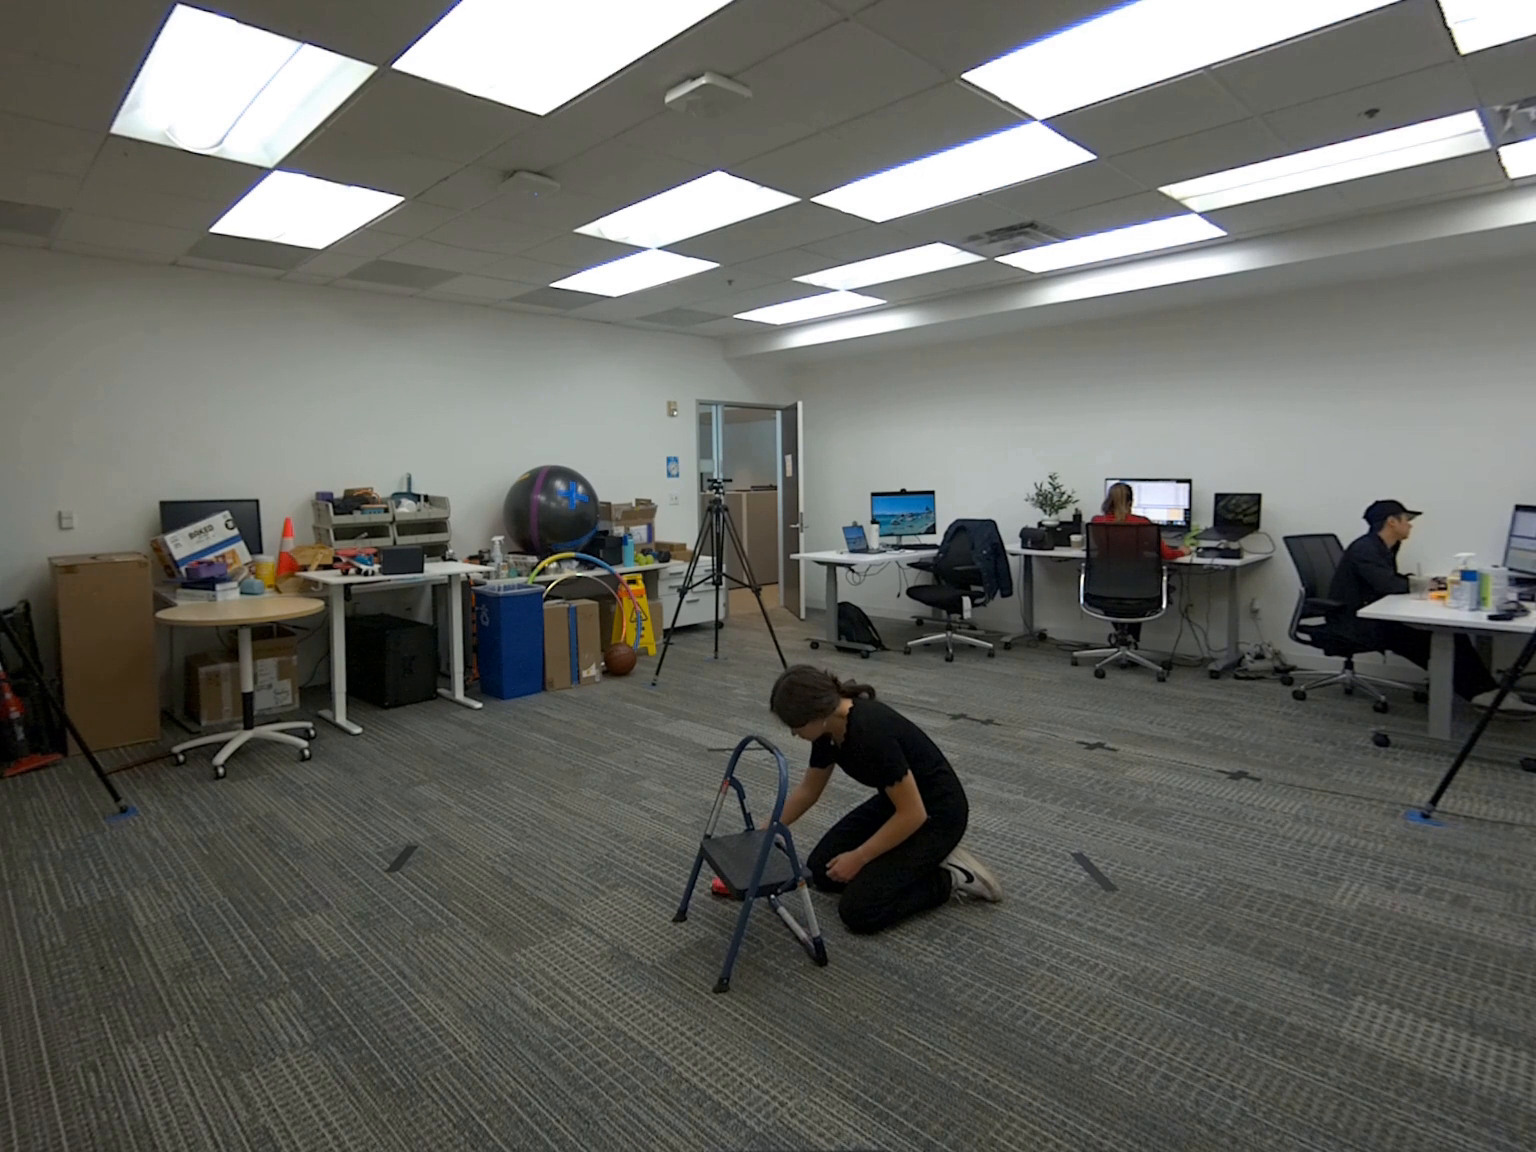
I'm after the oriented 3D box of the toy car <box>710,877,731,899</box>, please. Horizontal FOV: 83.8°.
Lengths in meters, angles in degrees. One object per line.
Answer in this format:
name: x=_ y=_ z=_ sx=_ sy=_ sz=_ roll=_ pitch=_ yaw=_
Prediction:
toy car: x=-0.095 y=1.031 z=2.961 sx=0.132 sy=0.082 sz=0.255 roll=-2 pitch=16 yaw=13
